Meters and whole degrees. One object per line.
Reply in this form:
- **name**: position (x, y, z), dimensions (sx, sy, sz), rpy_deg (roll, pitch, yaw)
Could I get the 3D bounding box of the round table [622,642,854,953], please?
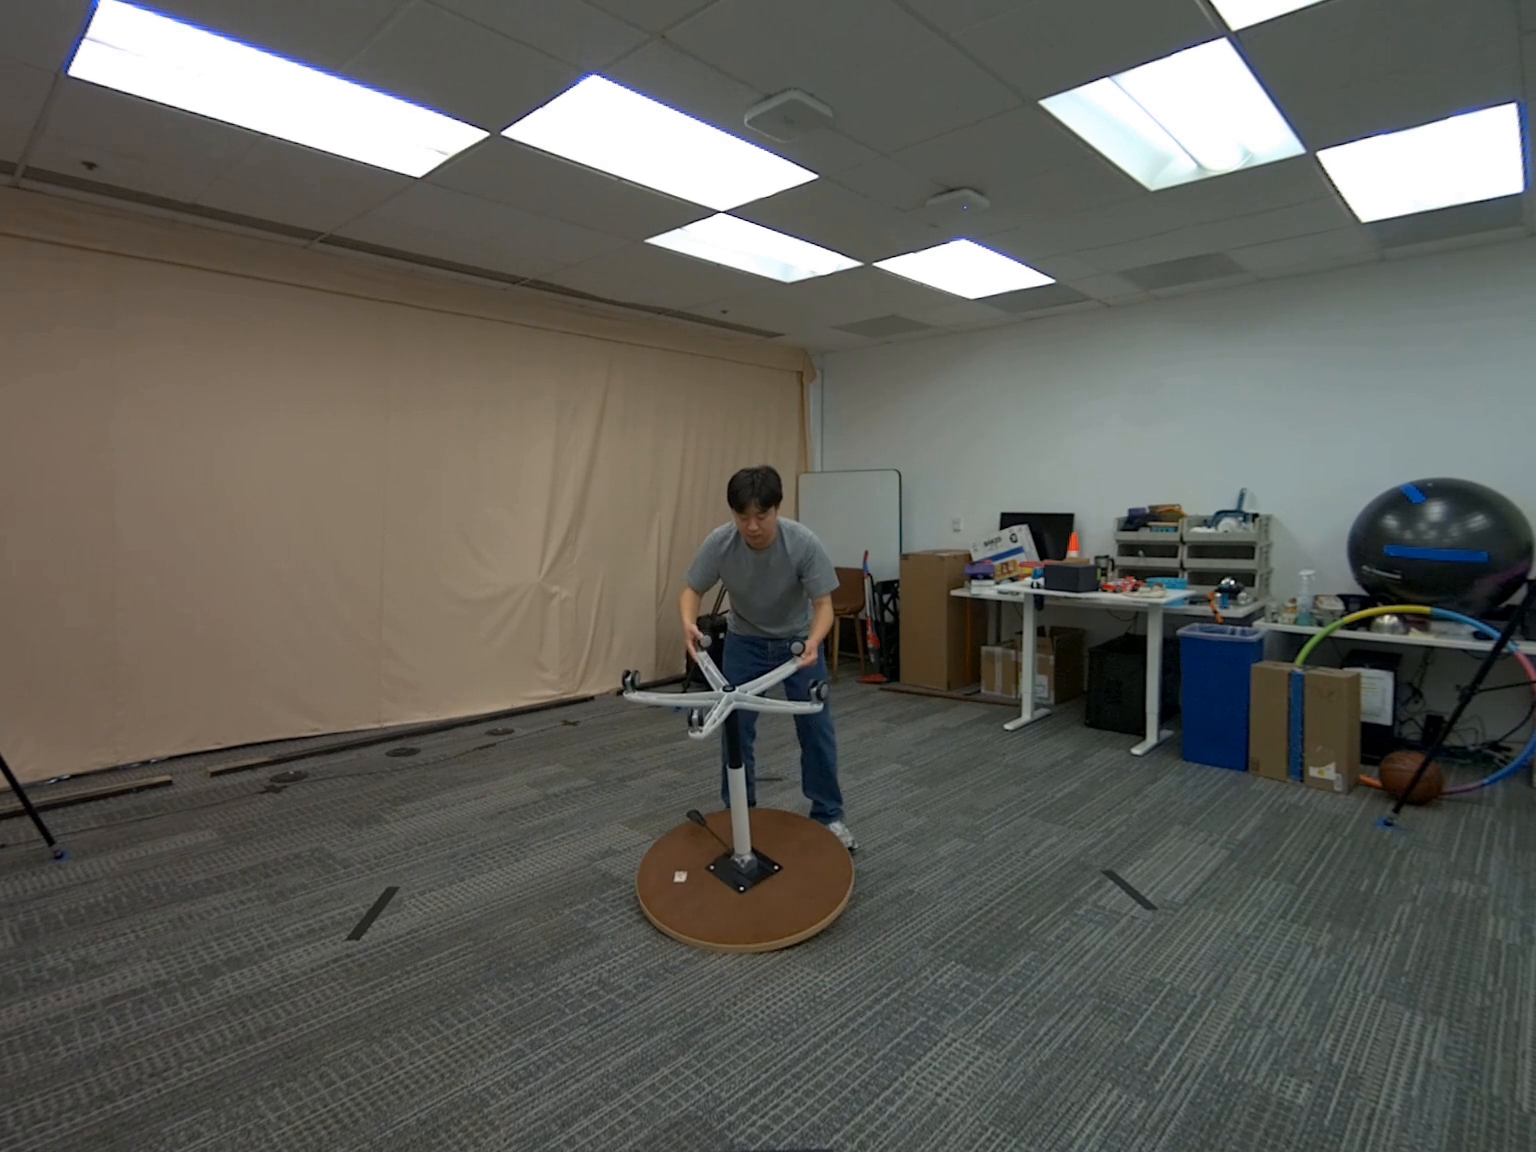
- **round table**: position (-0.114, 0.684, 2.868), dimensions (0.764, 0.785, 0.772), rpy_deg (-3, 16, -1)
